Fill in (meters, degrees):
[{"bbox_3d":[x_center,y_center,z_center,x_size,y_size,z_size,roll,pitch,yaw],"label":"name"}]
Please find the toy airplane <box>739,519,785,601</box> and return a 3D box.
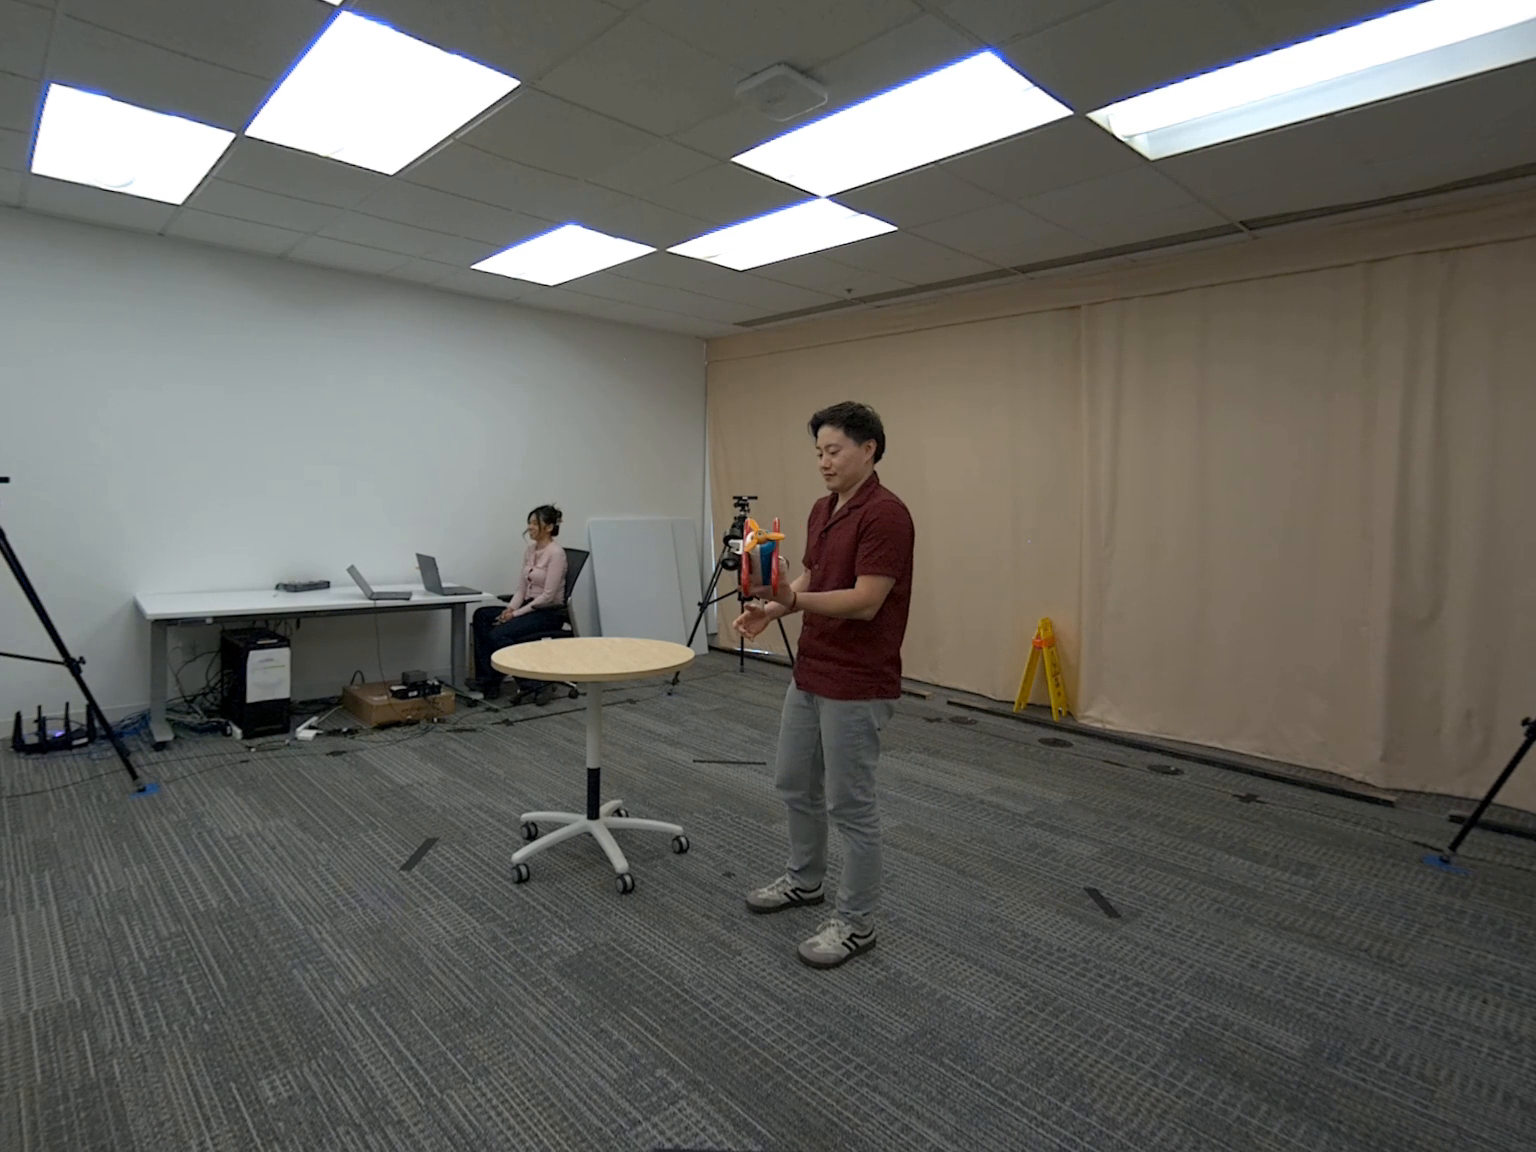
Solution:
[{"bbox_3d":[-0.024,-0.035,2.346,0.158,0.255,0.252,-11,-19,18],"label":"toy airplane"}]
